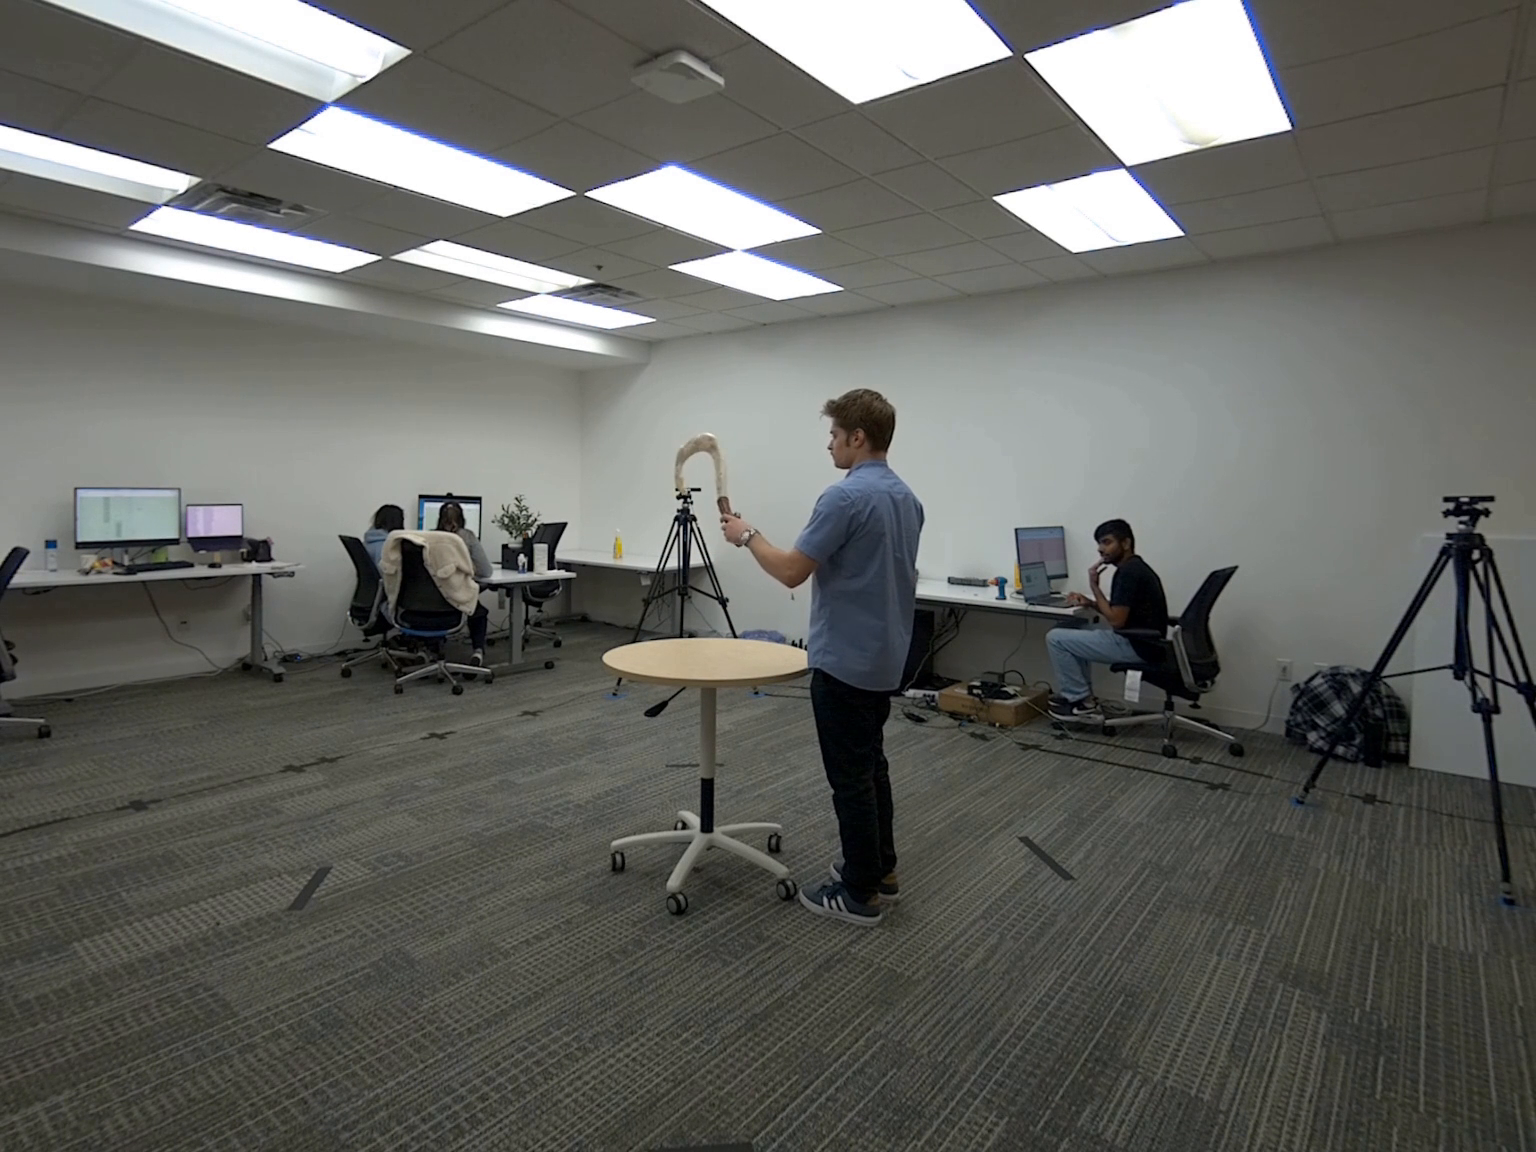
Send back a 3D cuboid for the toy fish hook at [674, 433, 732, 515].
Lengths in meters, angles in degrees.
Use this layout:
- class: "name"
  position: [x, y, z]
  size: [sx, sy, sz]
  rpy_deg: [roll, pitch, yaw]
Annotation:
- class: "toy fish hook"
  position: [-0.219, -0.270, 3.062]
  size: [0.226, 0.523, 0.046]
  rpy_deg: [-35, -30, 24]
